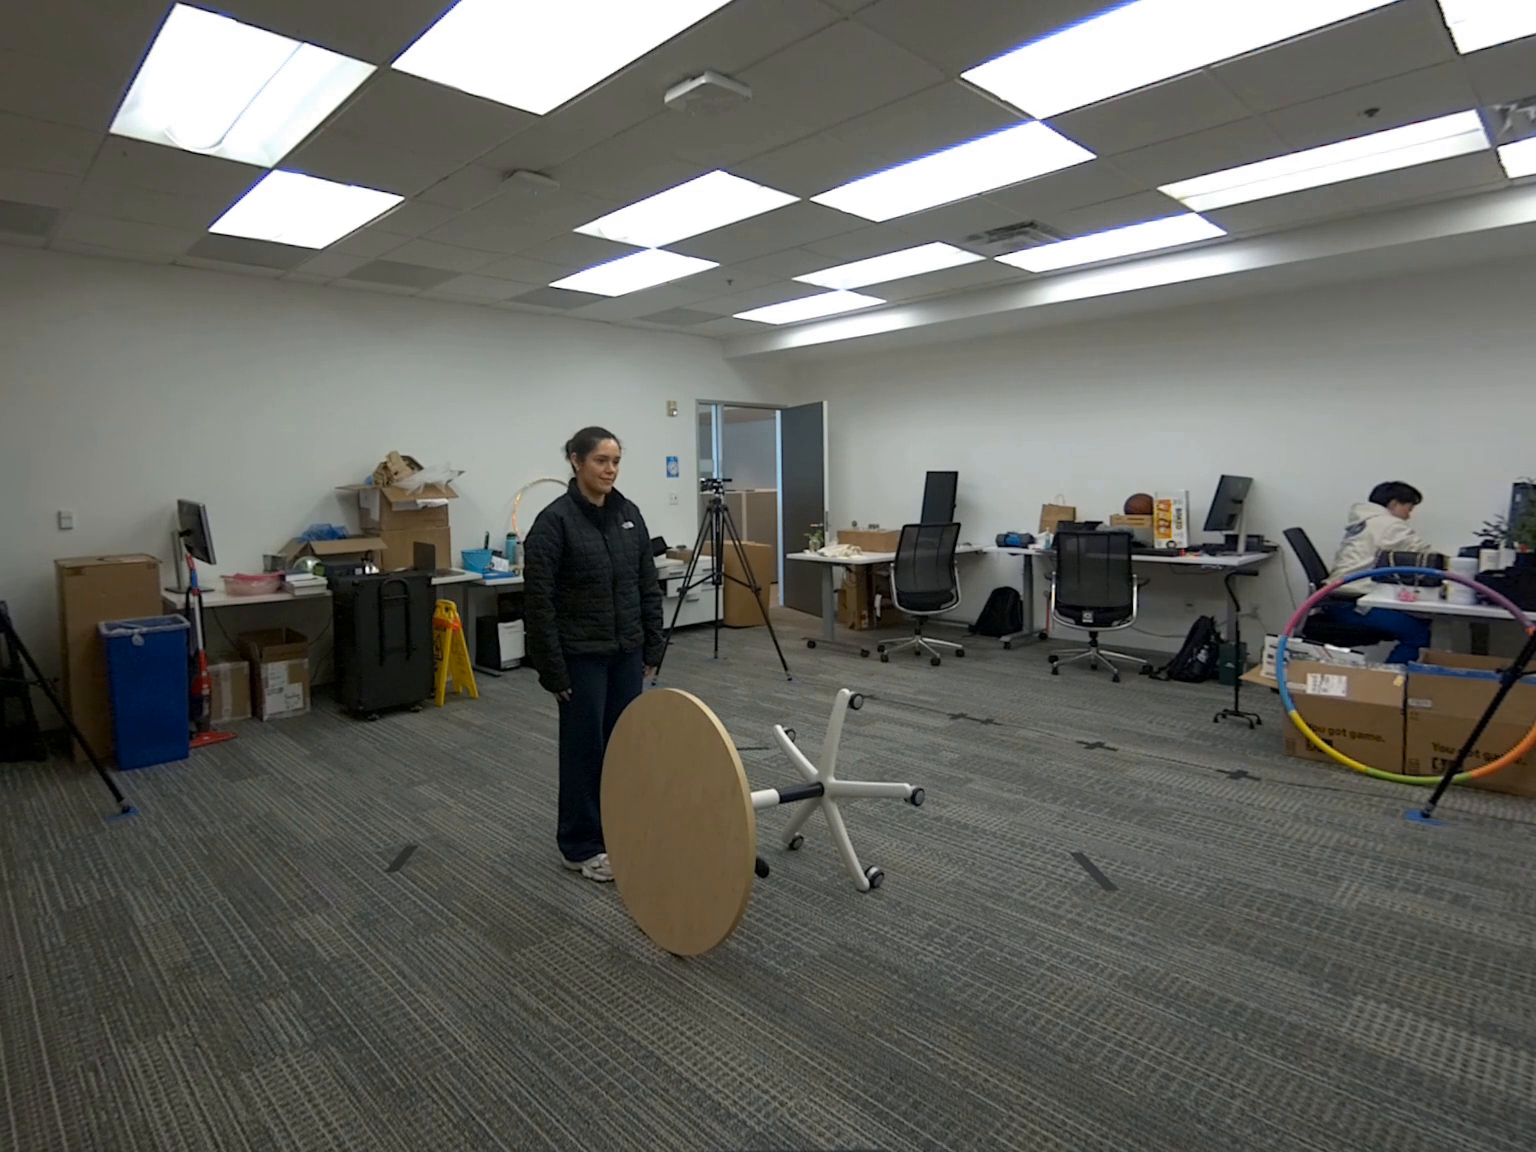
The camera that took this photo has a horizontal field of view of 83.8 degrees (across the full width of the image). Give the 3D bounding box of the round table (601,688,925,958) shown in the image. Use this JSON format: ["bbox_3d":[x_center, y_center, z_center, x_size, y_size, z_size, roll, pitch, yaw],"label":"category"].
[{"bbox_3d":[-0.015,0.731,2.841,0.763,0.785,0.809,2,1,-41],"label":"round table"}]
